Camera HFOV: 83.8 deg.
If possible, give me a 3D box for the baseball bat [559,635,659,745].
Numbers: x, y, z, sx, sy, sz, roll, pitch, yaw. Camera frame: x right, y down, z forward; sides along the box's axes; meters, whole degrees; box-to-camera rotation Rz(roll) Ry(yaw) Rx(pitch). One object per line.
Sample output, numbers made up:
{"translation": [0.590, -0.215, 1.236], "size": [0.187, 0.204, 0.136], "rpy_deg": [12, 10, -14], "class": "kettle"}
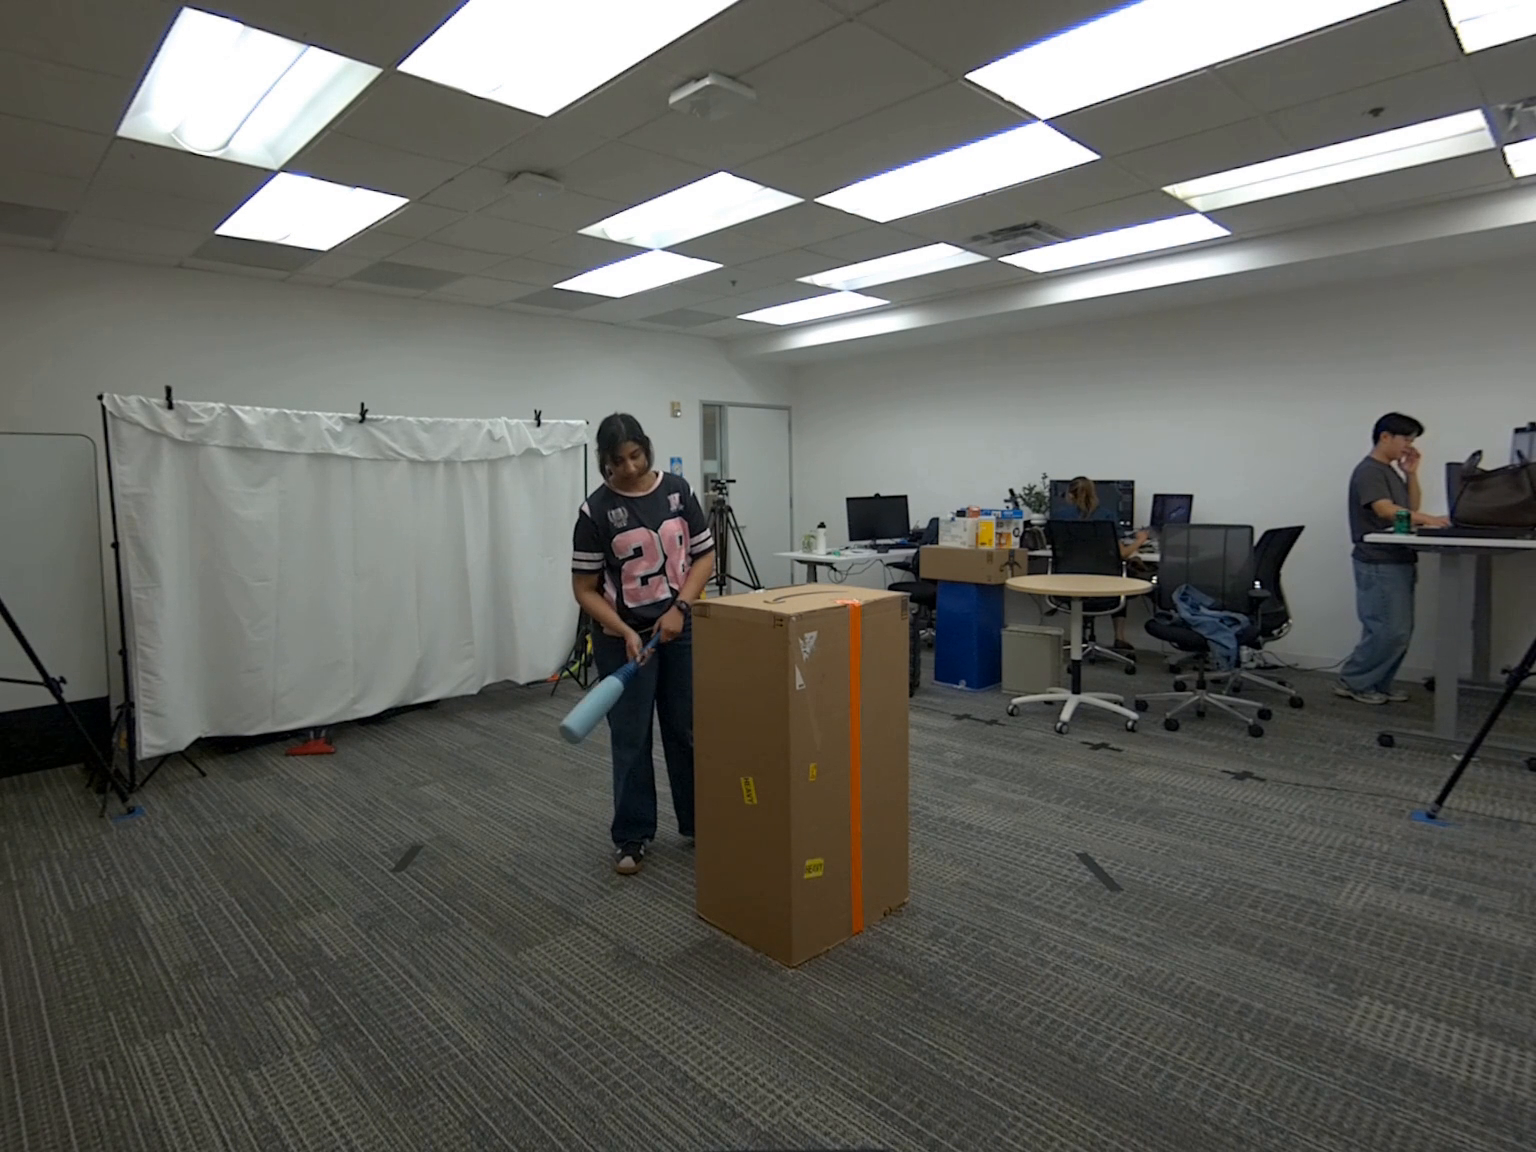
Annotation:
{"translation": [-0.491, 0.334, 2.822], "size": [0.091, 0.086, 0.542], "rpy_deg": [2, 34, 35], "class": "baseball bat"}
